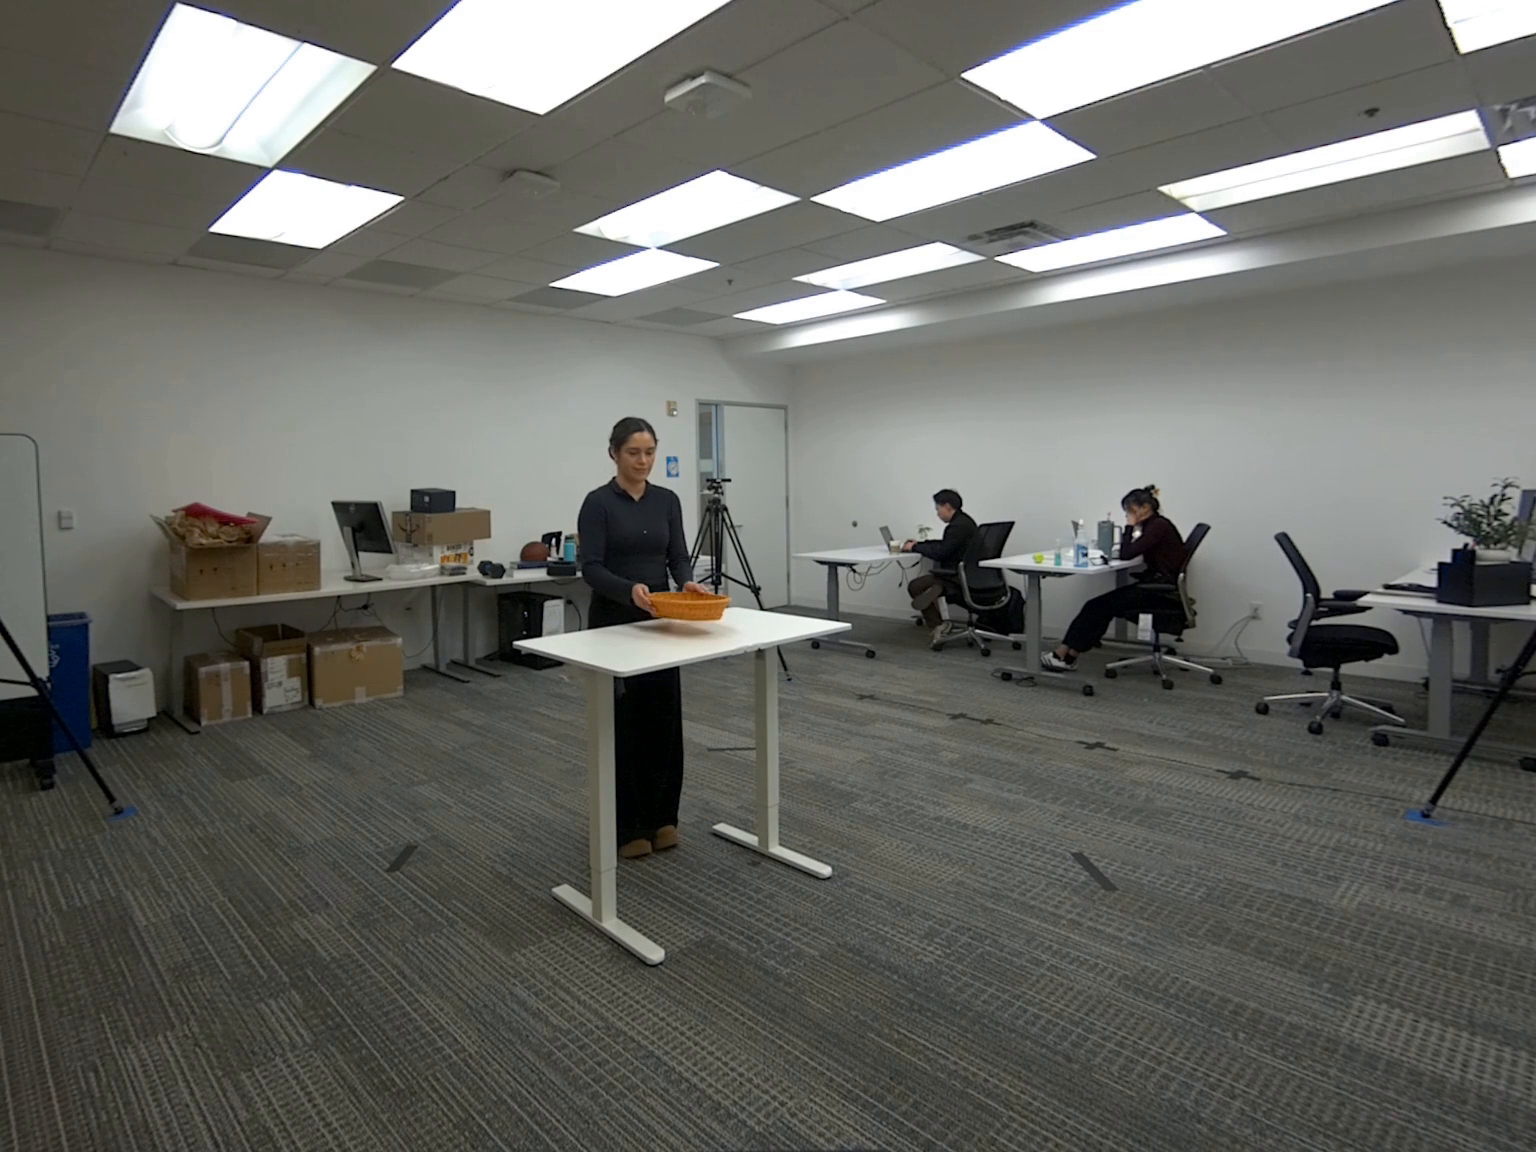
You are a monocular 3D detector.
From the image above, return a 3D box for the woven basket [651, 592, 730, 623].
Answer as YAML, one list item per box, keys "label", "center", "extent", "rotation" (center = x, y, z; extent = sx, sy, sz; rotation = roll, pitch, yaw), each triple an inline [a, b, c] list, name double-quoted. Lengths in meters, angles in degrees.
- label: "woven basket"
  center: [-0.296, 0.108, 2.929]
  extent: [0.246, 0.073, 0.360]
  rotation: [-3, 6, -31]
